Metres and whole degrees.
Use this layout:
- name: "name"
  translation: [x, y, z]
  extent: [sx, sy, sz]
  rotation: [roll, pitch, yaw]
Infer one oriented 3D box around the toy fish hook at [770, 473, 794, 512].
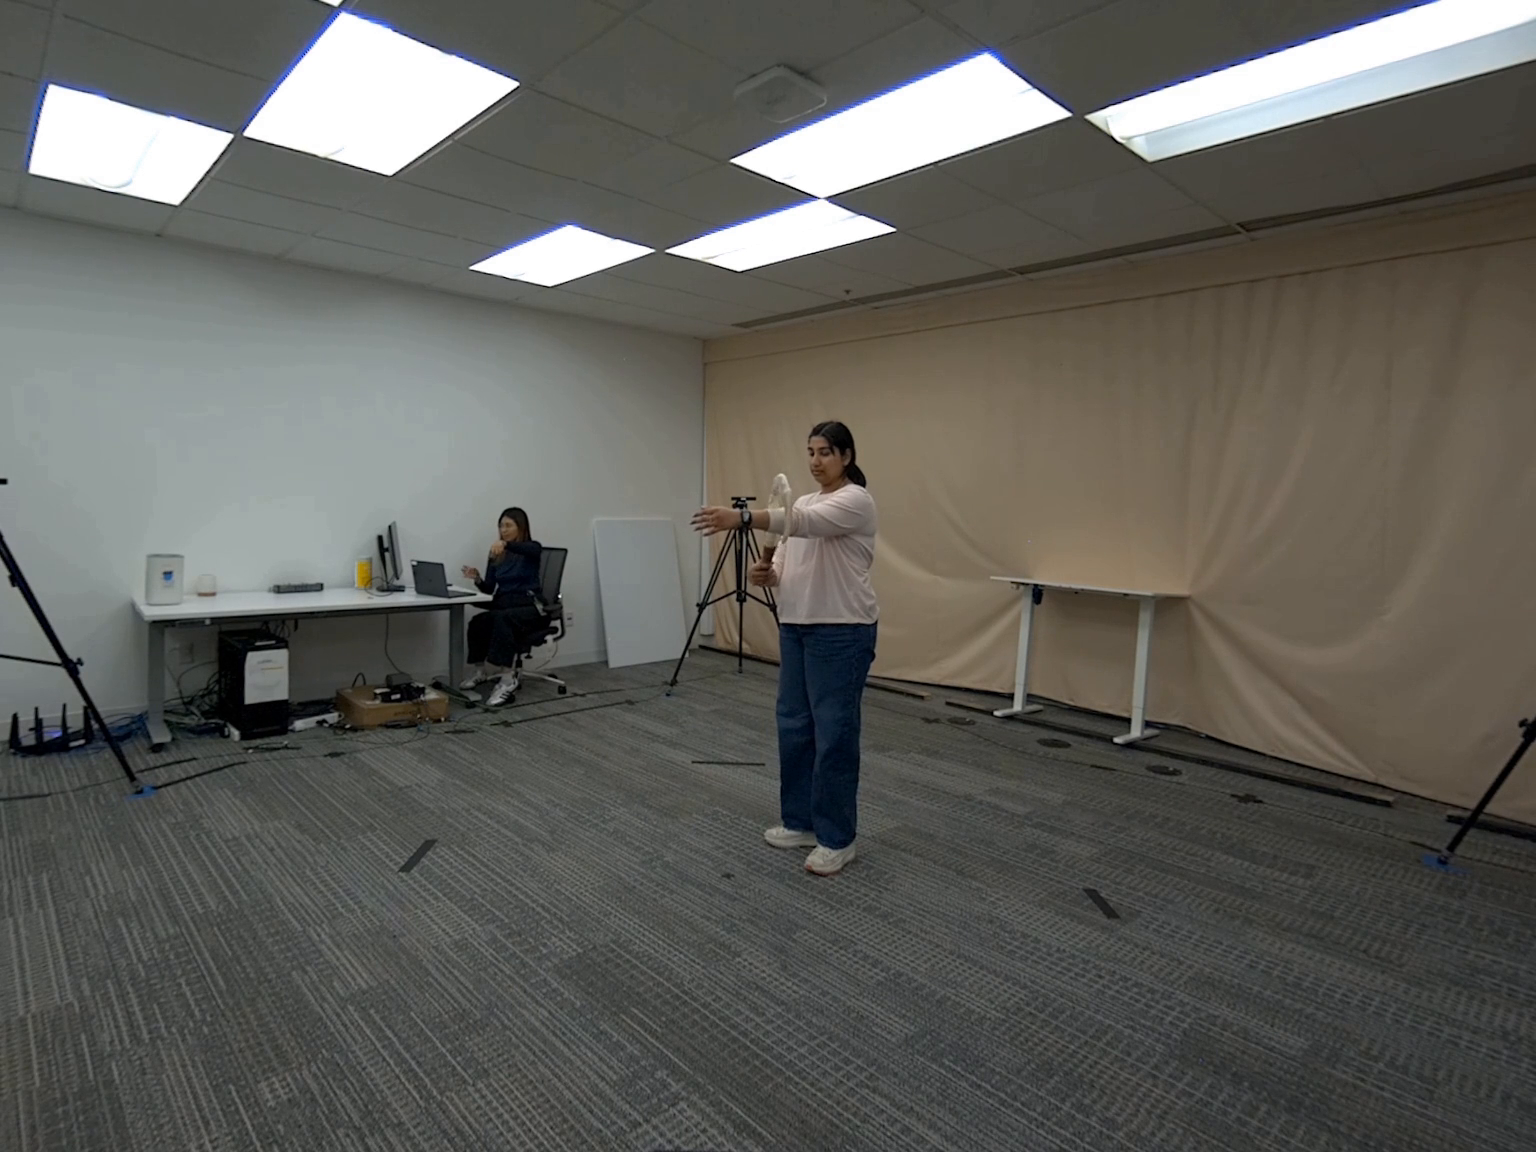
- name: "toy fish hook"
  translation: [0.019, -0.118, 2.955]
  extent: [0.048, 0.497, 0.230]
  rotation: [0, 39, -11]
